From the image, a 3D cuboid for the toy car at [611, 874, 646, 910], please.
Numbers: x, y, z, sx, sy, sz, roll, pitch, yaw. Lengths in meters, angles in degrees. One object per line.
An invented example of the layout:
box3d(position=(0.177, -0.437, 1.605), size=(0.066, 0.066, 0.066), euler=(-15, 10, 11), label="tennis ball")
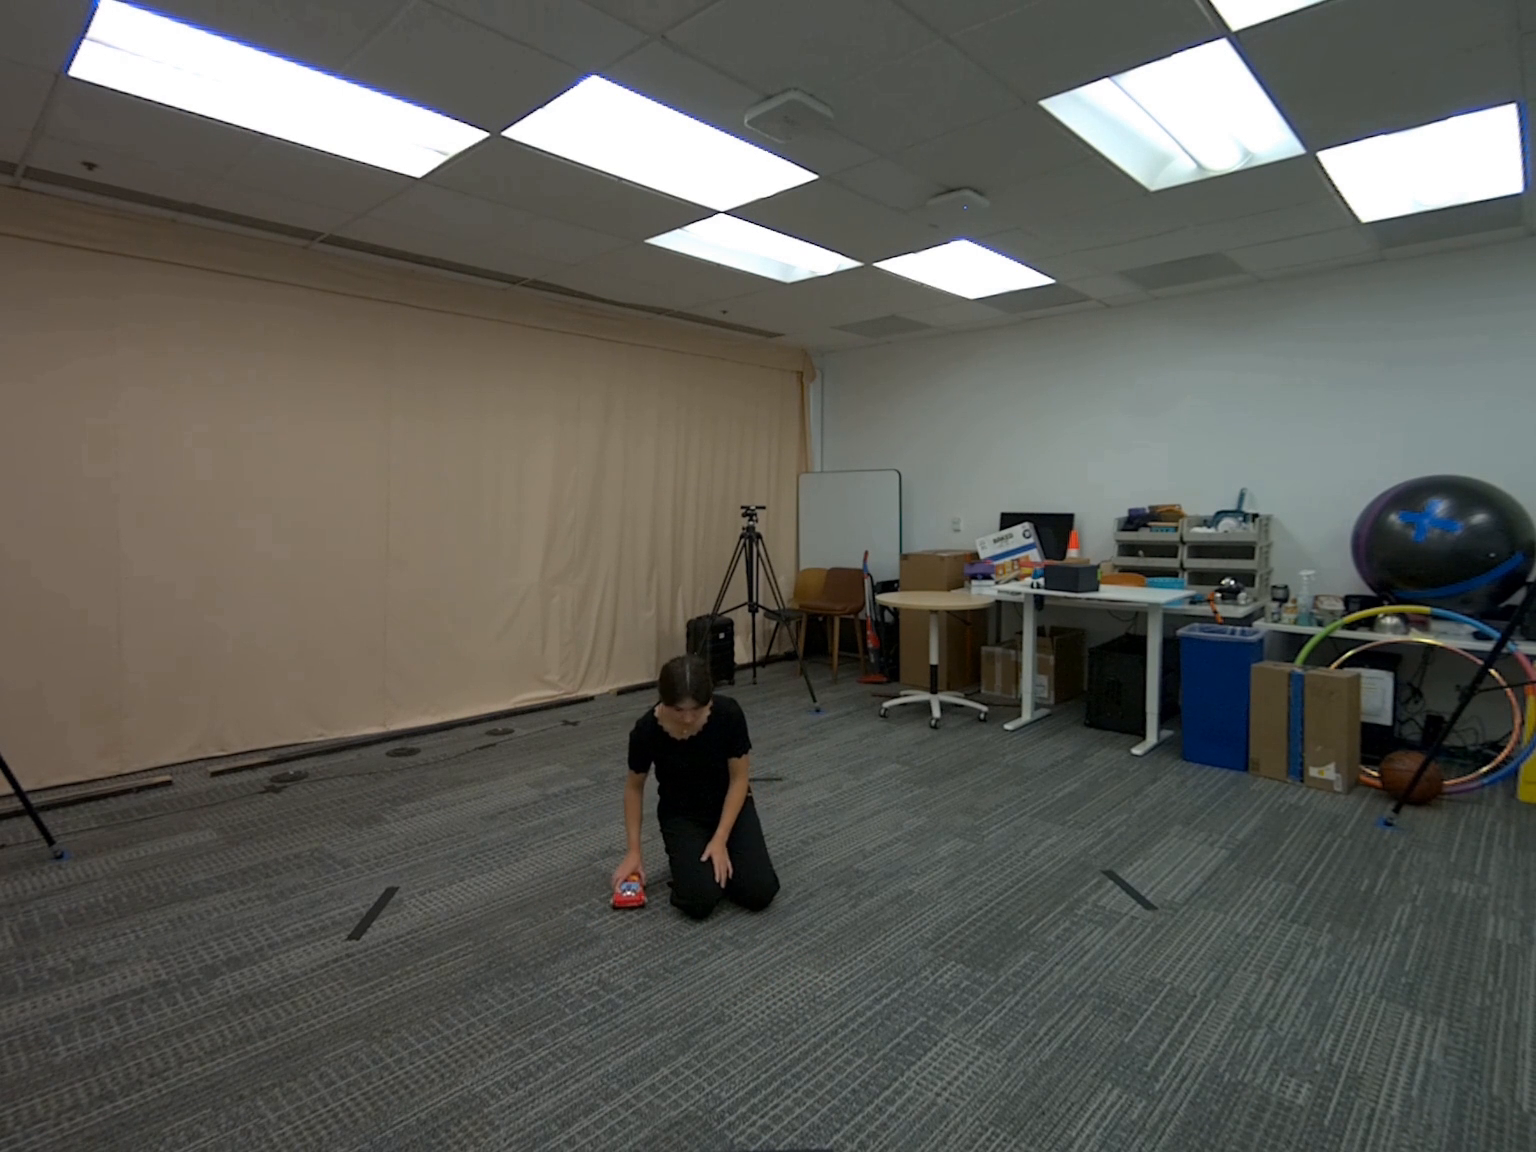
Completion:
box3d(position=(-0.489, 1.121, 3.016), size=(0.129, 0.082, 0.259), euler=(-2, 14, -8), label="toy car")
